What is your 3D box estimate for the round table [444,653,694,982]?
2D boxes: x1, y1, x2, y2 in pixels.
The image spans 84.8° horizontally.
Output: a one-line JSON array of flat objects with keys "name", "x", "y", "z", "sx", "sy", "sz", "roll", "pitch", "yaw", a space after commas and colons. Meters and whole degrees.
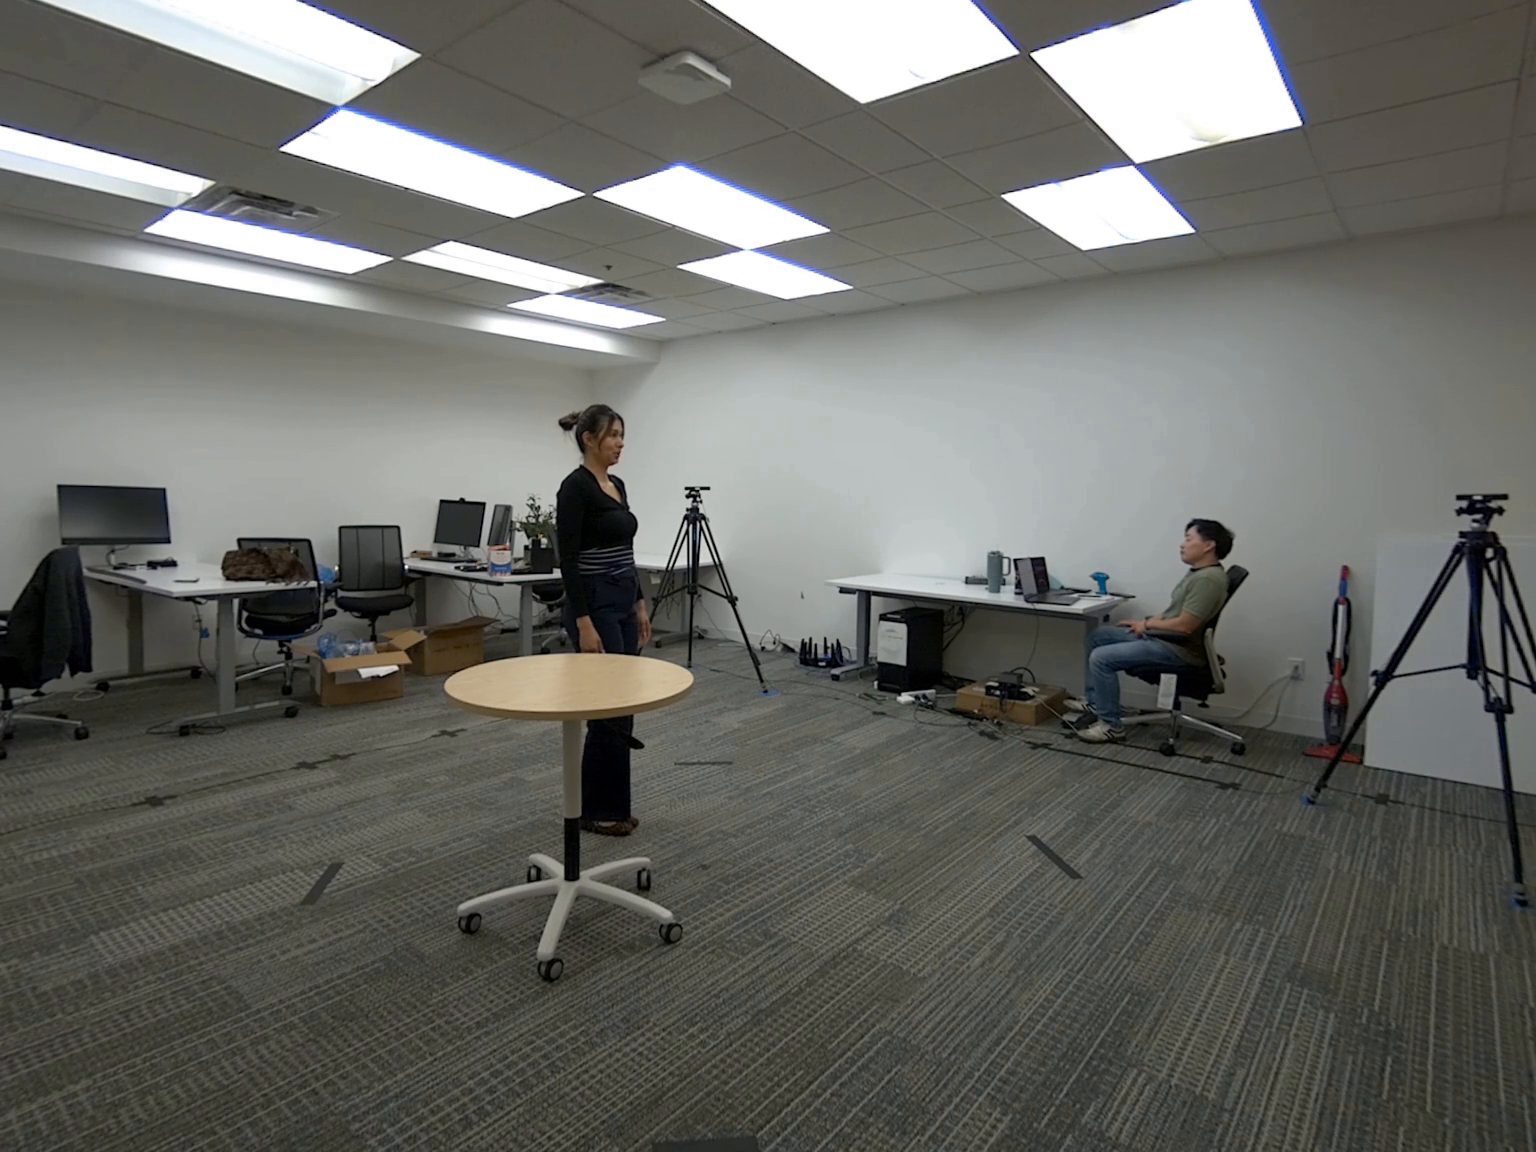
[{"name": "round table", "x": -0.624, "y": 0.714, "z": 2.686, "sx": 0.763, "sy": 0.791, "sz": 0.768, "roll": 0, "pitch": 5, "yaw": -2}]
